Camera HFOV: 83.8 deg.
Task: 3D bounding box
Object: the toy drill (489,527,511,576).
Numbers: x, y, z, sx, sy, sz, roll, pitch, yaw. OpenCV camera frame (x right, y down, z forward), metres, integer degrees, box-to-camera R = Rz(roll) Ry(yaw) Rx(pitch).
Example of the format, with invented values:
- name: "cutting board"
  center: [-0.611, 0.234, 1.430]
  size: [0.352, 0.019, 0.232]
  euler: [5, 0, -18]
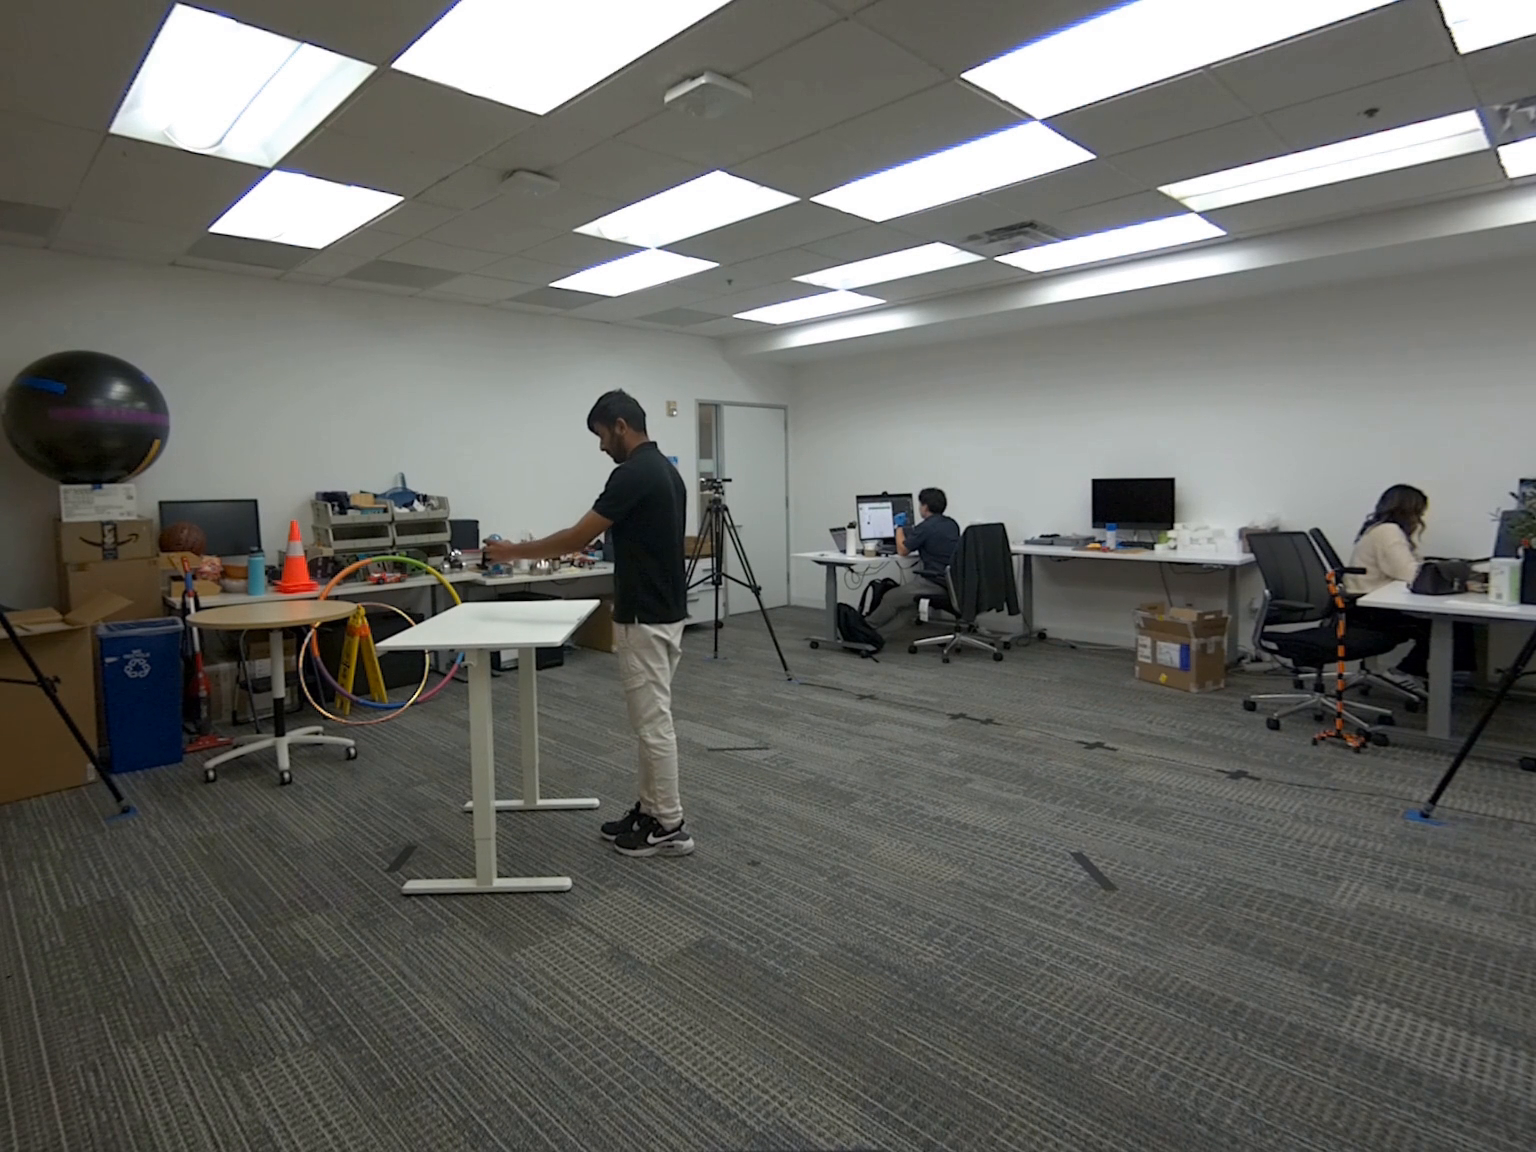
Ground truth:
- name: "toy drill"
  center: [-1.023, -0.098, 3.273]
  size: [0.060, 0.144, 0.174]
  euler: [-5, 15, -15]
